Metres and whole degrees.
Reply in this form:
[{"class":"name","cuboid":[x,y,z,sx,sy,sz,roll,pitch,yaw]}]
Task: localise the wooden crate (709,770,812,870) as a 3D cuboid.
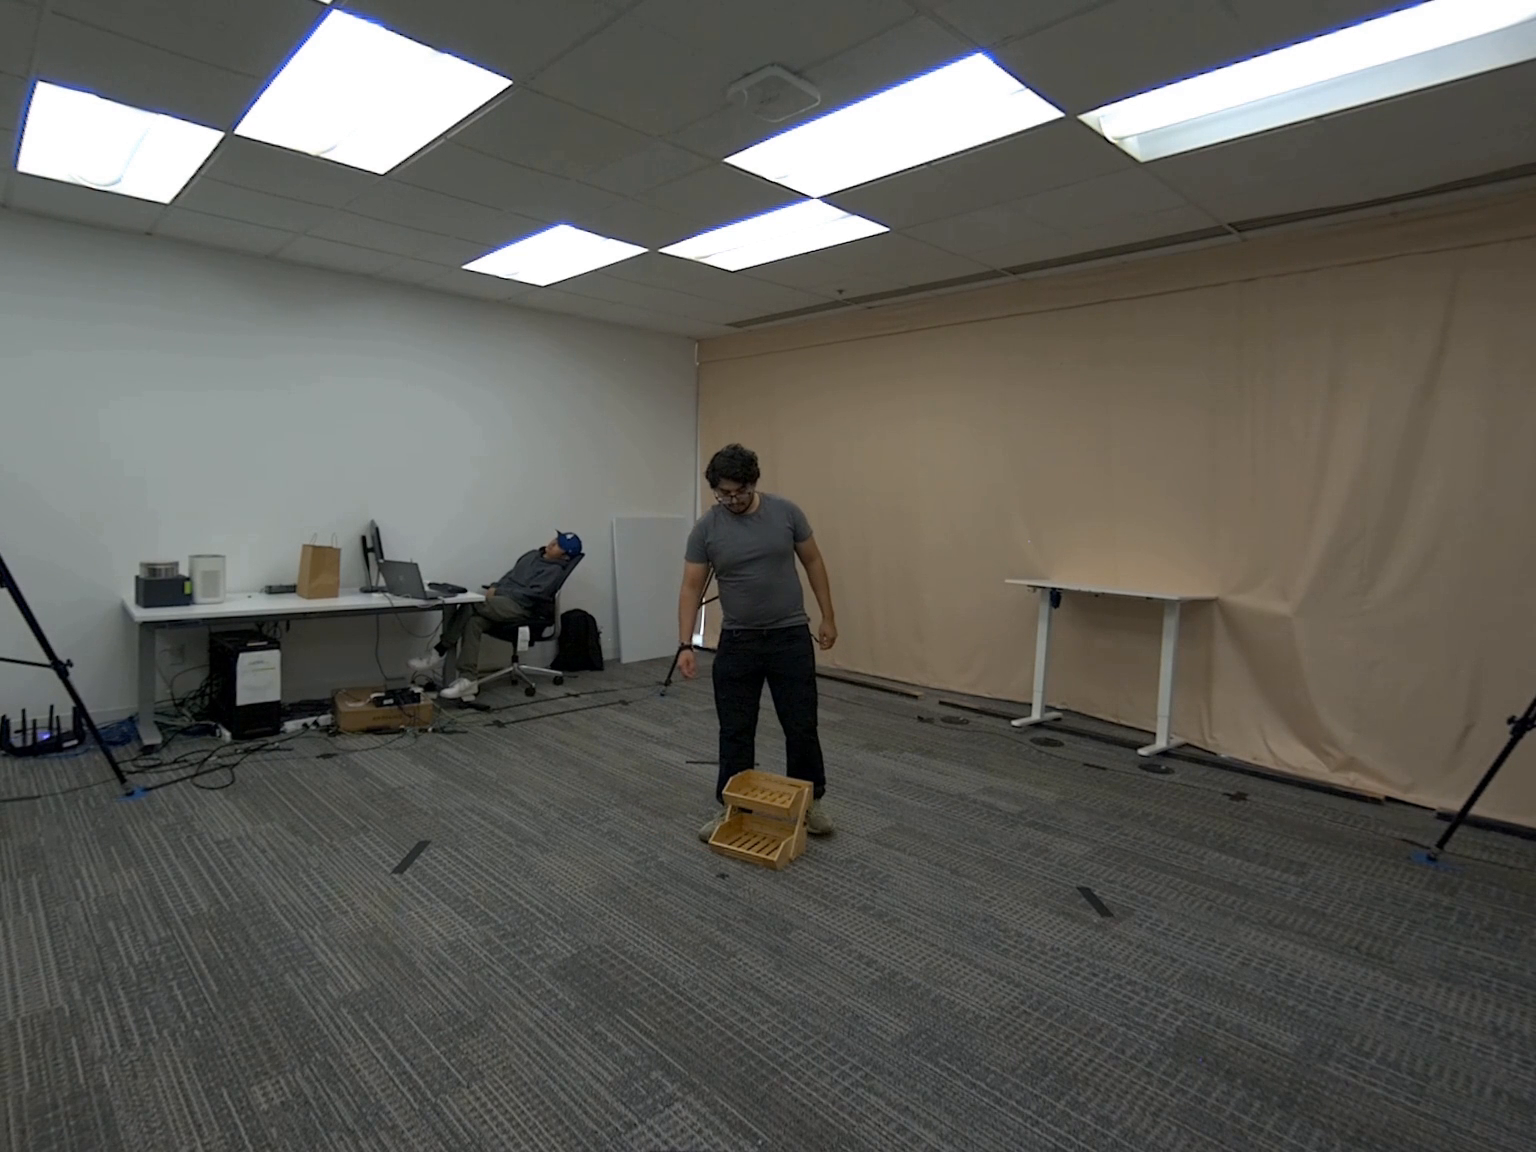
[{"class":"wooden crate","cuboid":[-0.027,0.957,3.328,0.331,0.273,0.296,3,3,30]}]
